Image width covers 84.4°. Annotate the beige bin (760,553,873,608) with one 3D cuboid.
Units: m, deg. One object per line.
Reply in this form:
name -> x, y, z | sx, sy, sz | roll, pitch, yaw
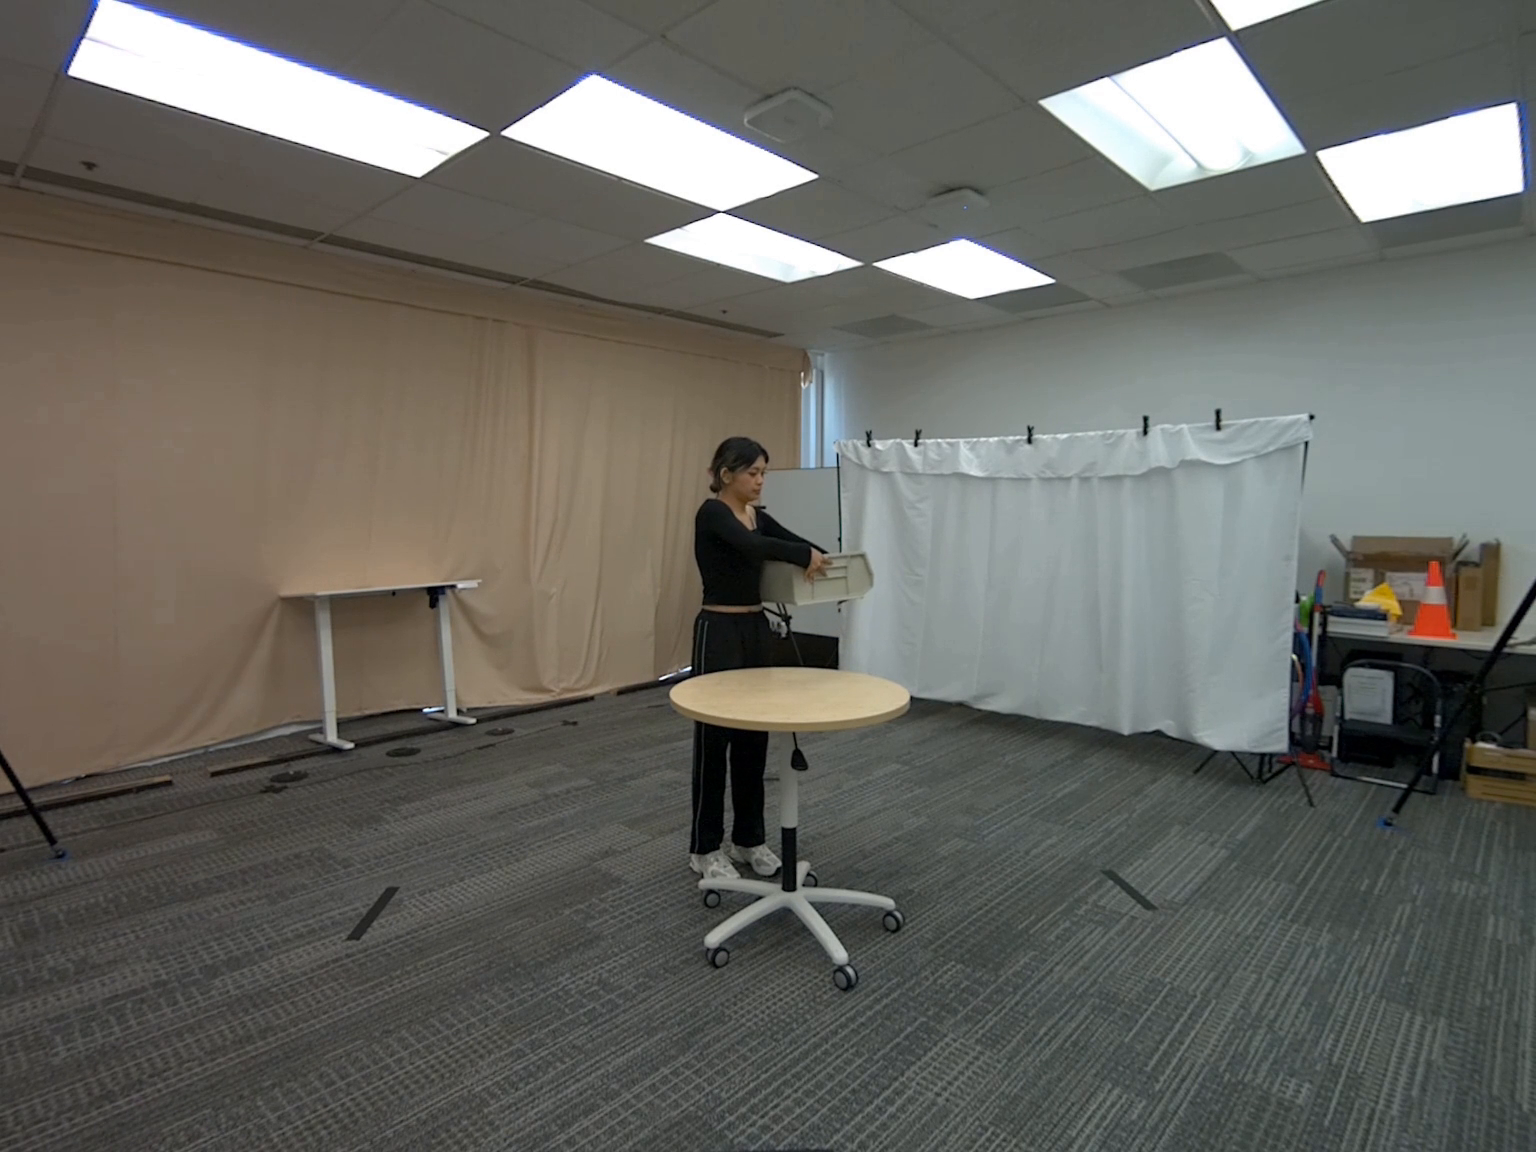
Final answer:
beige bin -> 0.142, 0.008, 3.340 | 0.367, 0.189, 0.434 | -5, 4, -31
